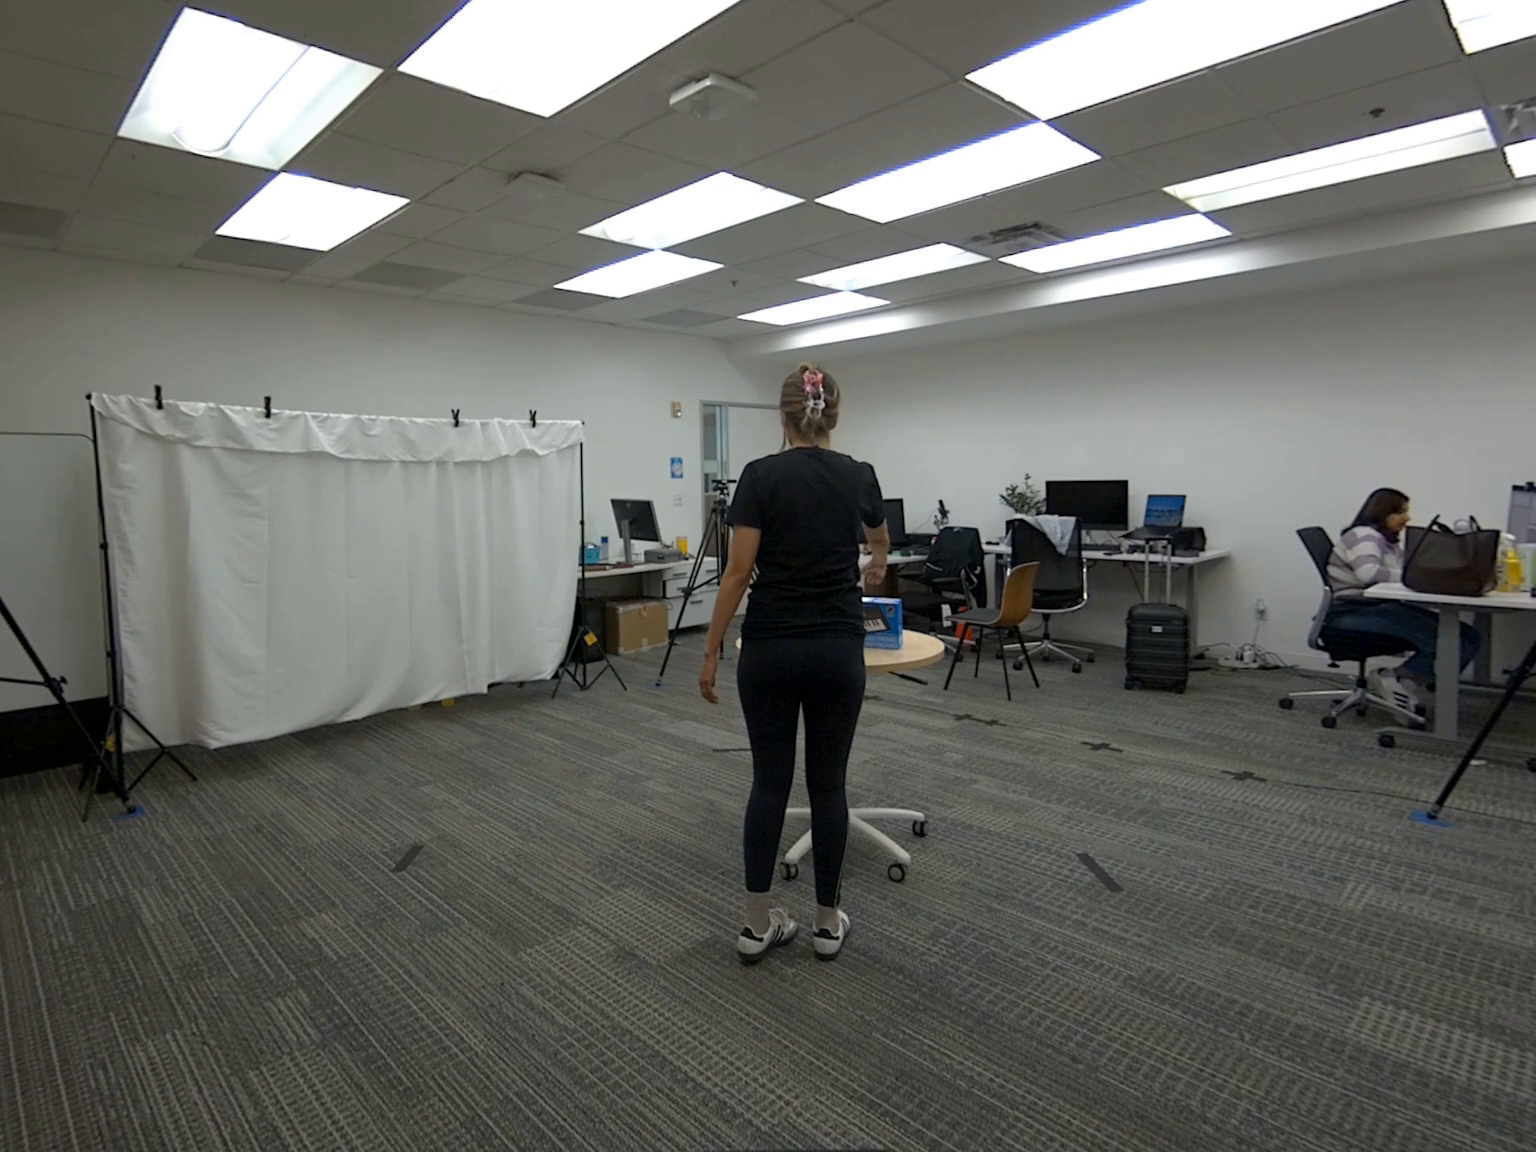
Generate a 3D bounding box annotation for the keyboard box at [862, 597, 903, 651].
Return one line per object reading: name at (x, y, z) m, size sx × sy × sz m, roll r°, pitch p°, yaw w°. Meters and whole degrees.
keyboard box at (0.272, 0.166, 3.138) m, size 0.446 × 0.174 × 0.058 m, roll 2°, pitch 10°, yaw 23°
